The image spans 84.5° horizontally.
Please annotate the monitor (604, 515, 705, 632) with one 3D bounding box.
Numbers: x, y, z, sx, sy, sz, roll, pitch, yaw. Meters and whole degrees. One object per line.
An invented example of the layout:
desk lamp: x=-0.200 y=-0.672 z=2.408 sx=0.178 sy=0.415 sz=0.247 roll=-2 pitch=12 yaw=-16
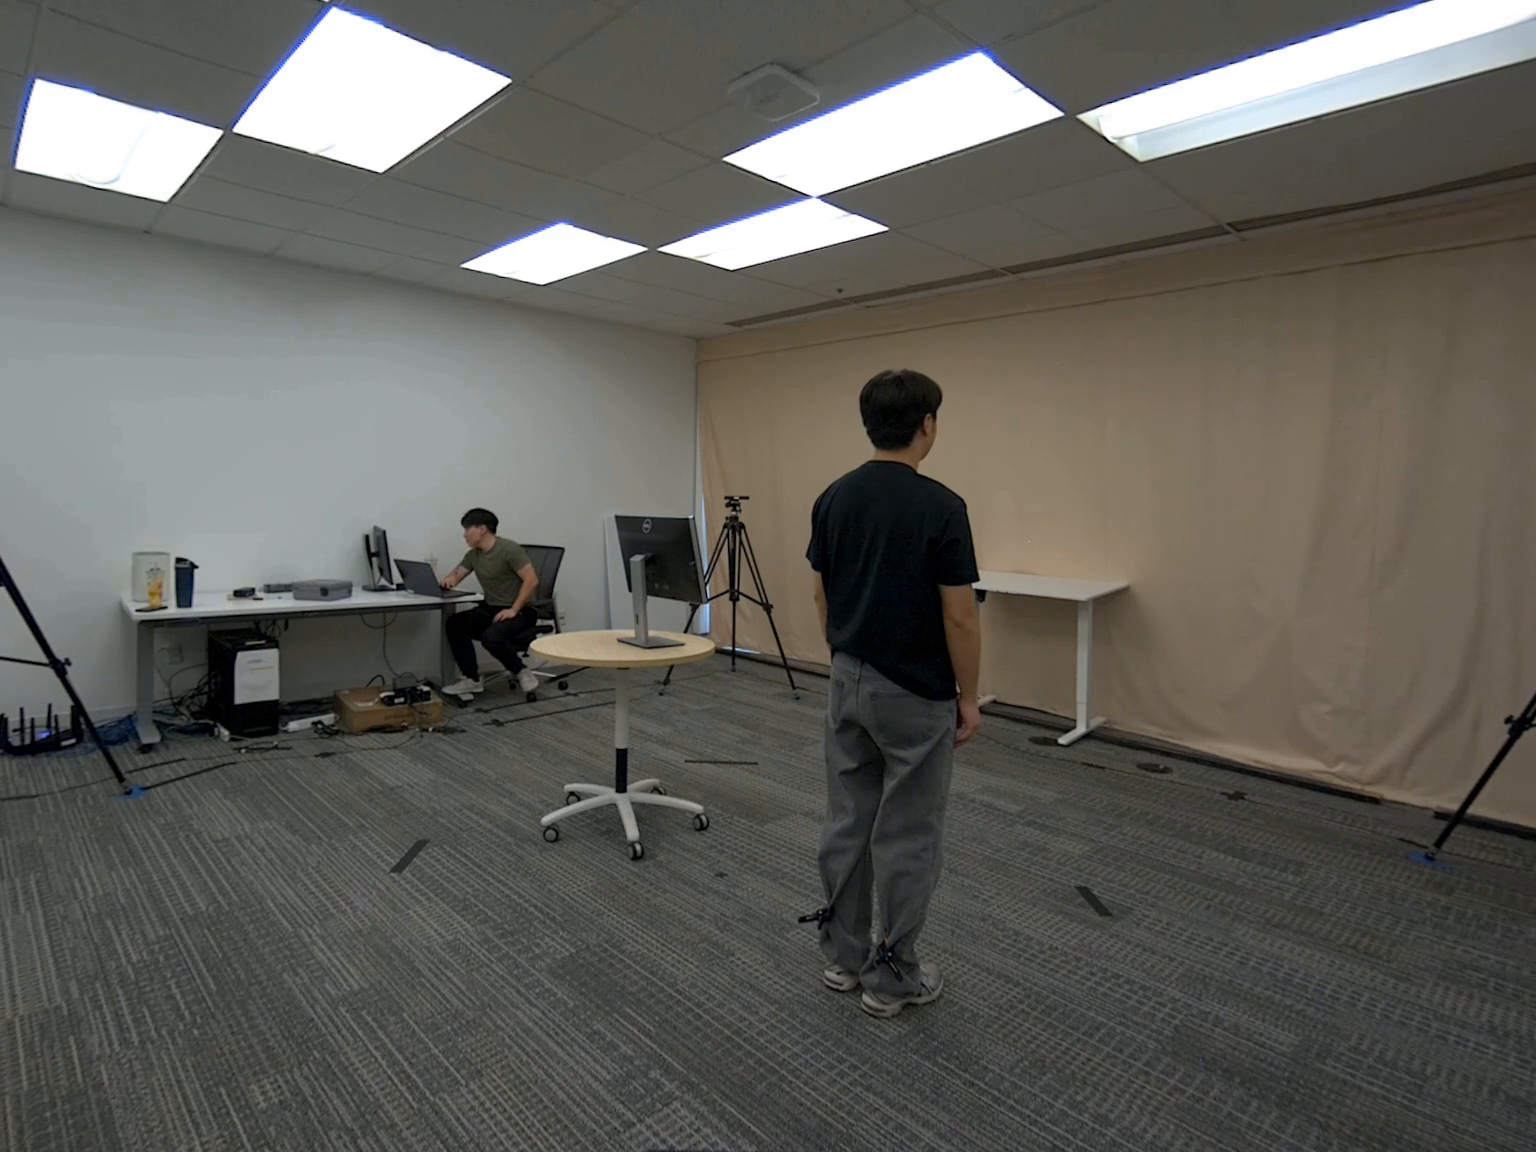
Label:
monitor: x=-0.512 y=0.019 z=3.523 sx=0.206 sy=0.551 sz=0.580 roll=-10 pitch=10 yaw=-41
